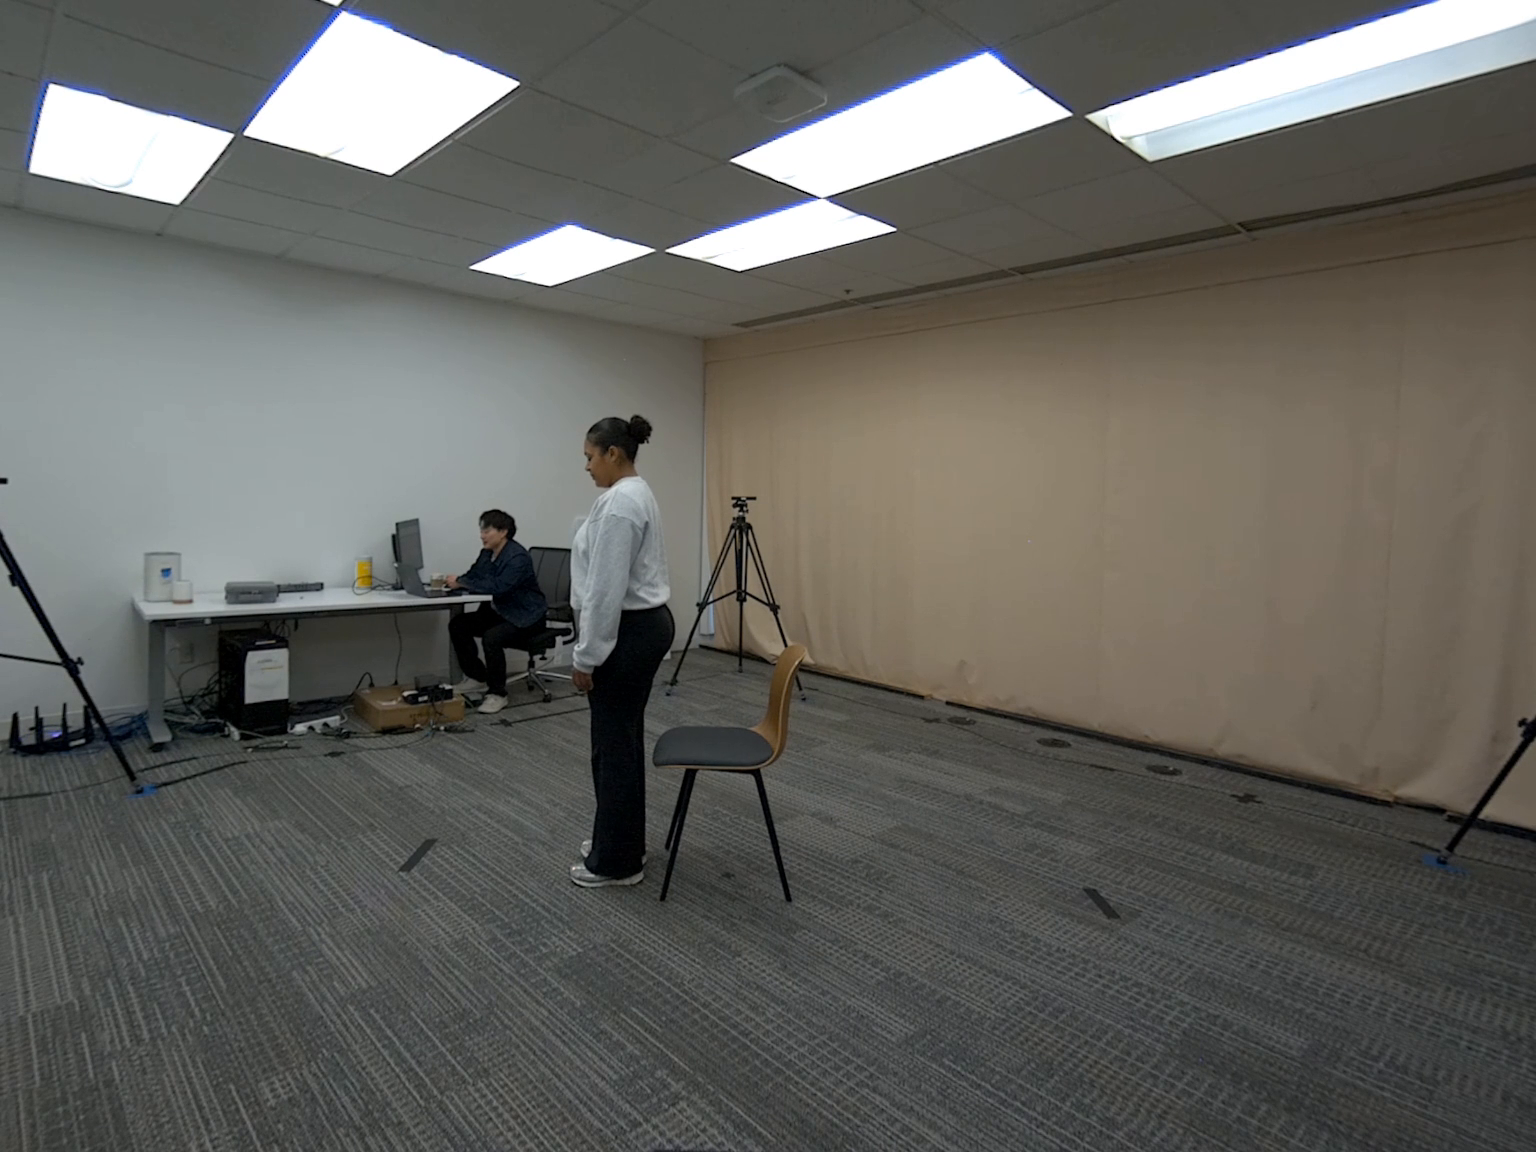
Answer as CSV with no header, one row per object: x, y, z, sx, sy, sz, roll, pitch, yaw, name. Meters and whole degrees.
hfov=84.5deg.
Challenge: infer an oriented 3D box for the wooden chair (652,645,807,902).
-0.162,0.676,3.089,0.521,0.875,0.481,5,4,-4,wooden chair
